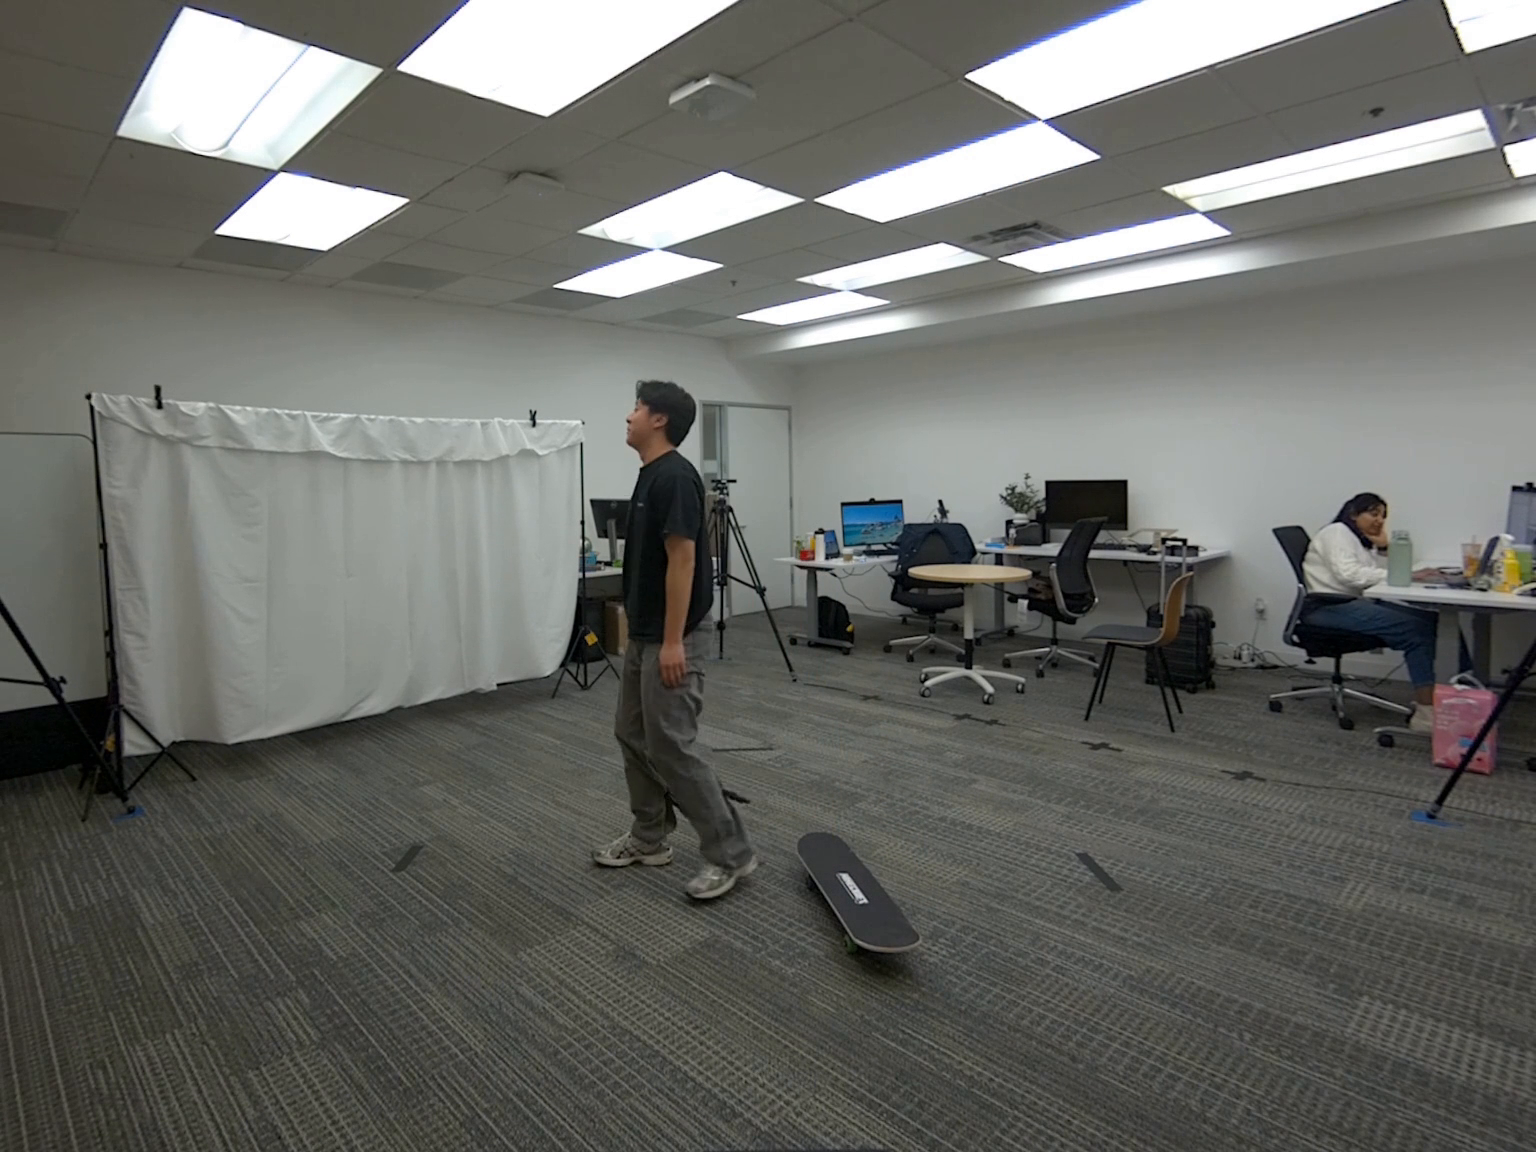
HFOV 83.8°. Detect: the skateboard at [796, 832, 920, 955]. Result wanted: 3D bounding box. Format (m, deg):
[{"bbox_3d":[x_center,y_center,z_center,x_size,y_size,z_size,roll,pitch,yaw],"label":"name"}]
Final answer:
[{"bbox_3d":[0.280,1.034,2.722,0.191,0.110,0.797,-3,6,-13],"label":"skateboard"}]
